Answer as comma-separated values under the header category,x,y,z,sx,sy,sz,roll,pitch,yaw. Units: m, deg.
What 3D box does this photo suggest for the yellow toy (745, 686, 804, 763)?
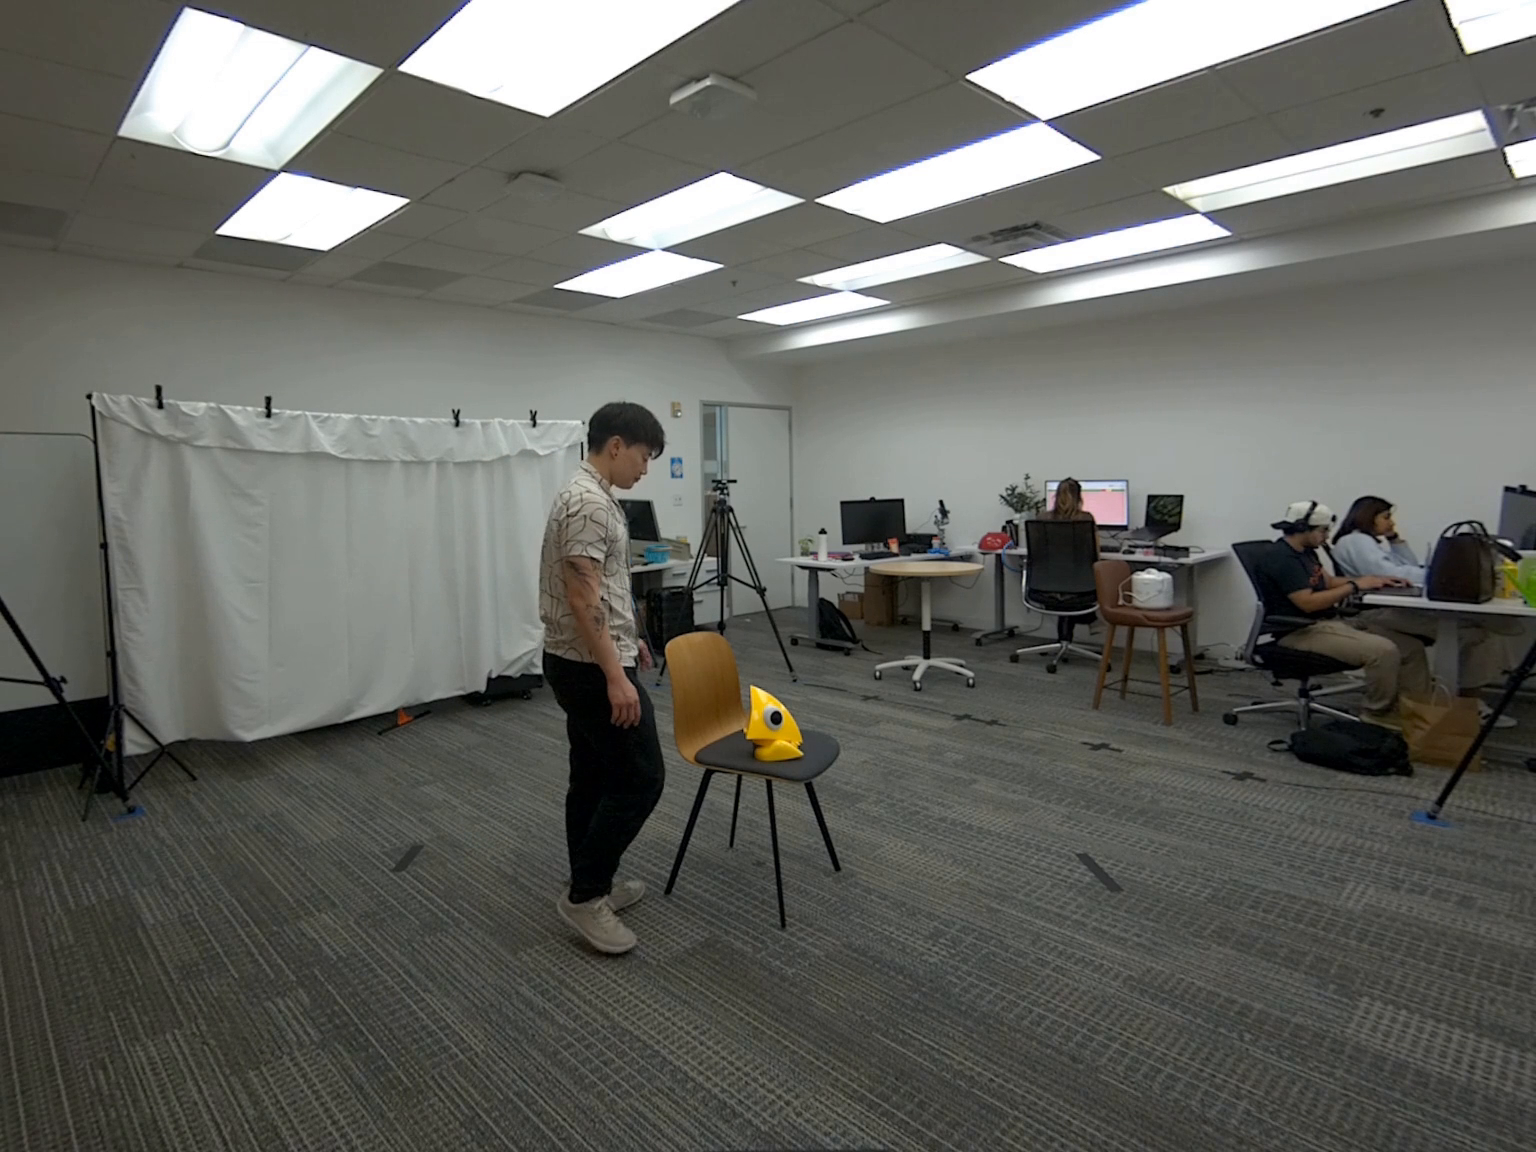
category,x,y,z,sx,sy,sz,roll,pitch,yaw
yellow toy,0.011,0.477,2.866,0.193,0.230,0.205,-5,2,-2
